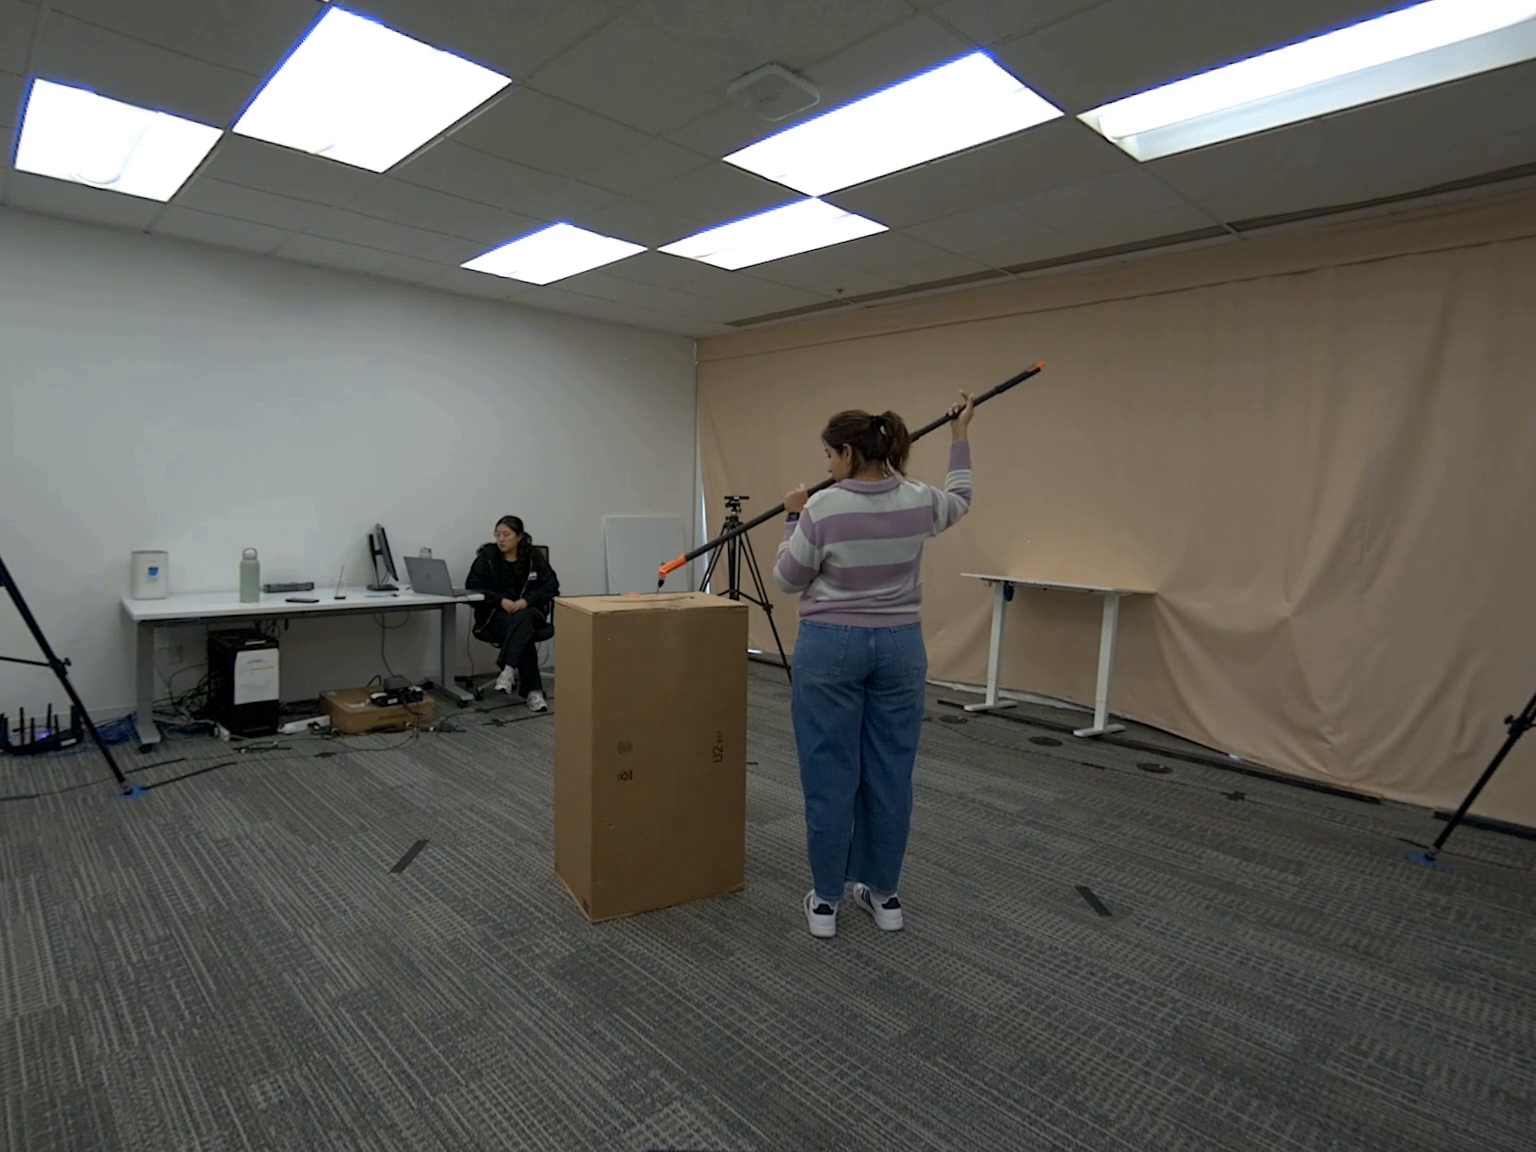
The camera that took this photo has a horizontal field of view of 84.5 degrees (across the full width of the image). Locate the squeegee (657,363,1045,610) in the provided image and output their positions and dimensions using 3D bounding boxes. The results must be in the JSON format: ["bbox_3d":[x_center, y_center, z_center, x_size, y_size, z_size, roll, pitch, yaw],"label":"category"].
[{"bbox_3d":[0.265,-0.360,2.934,1.537,0.052,0.441,-30,11,0],"label":"squeegee"}]
